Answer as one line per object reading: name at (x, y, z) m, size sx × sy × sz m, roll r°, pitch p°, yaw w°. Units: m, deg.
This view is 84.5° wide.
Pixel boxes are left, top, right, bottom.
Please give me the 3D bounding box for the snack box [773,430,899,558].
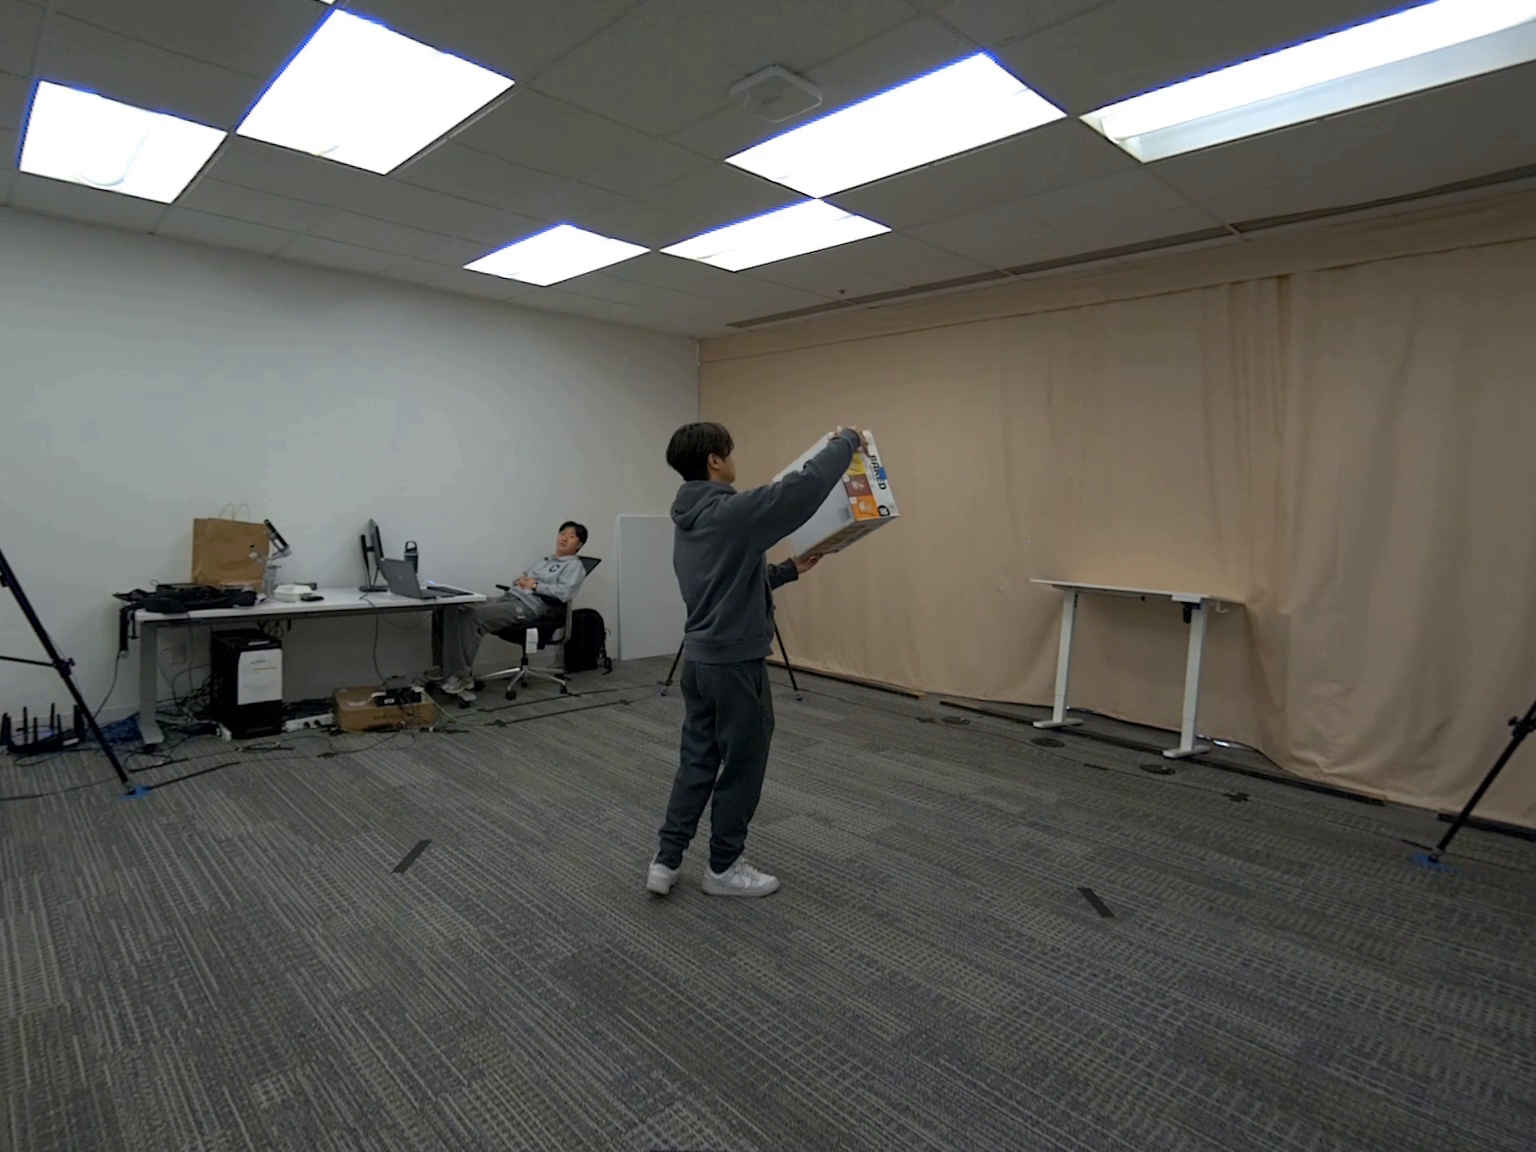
snack box at (0.234, -0.297, 3.142) m, size 0.202 × 0.345 × 0.407 m, roll -7°, pitch -16°, yaw -33°
